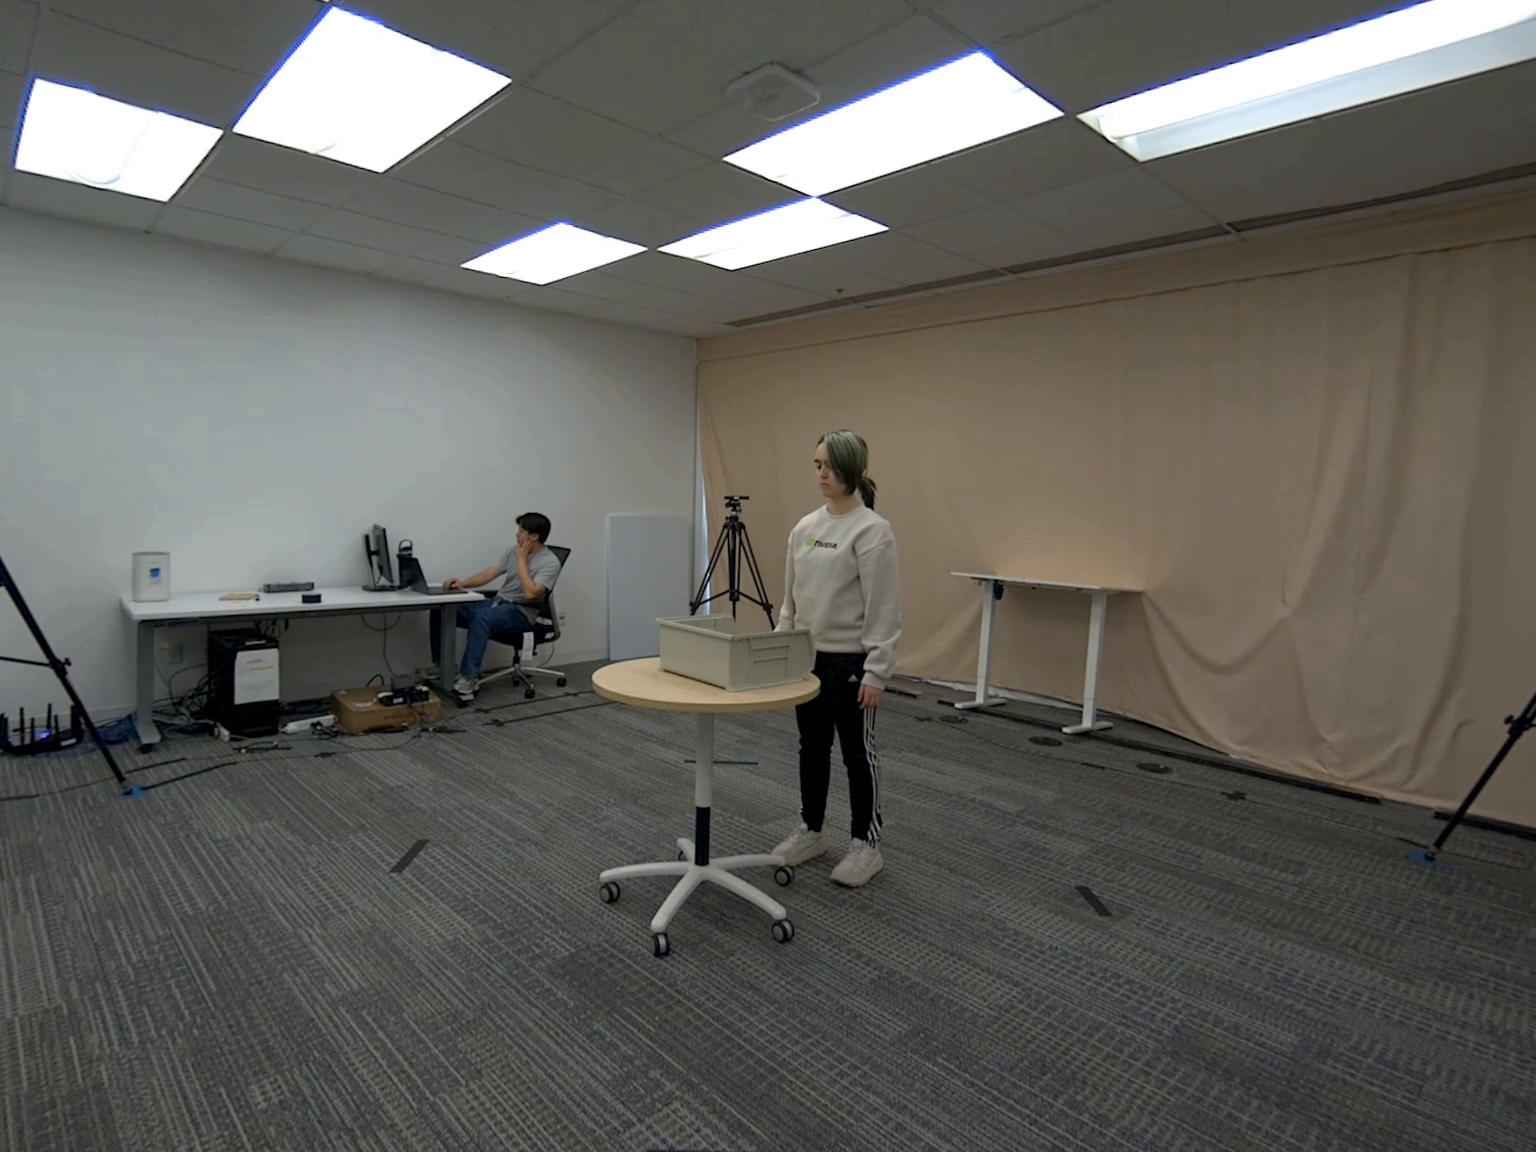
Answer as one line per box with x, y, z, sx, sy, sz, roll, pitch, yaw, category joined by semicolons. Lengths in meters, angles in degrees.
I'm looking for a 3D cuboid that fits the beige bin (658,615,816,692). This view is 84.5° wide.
-0.123;0.254;2.880;0.369;0.188;0.433;-3;7;-40;beige bin
